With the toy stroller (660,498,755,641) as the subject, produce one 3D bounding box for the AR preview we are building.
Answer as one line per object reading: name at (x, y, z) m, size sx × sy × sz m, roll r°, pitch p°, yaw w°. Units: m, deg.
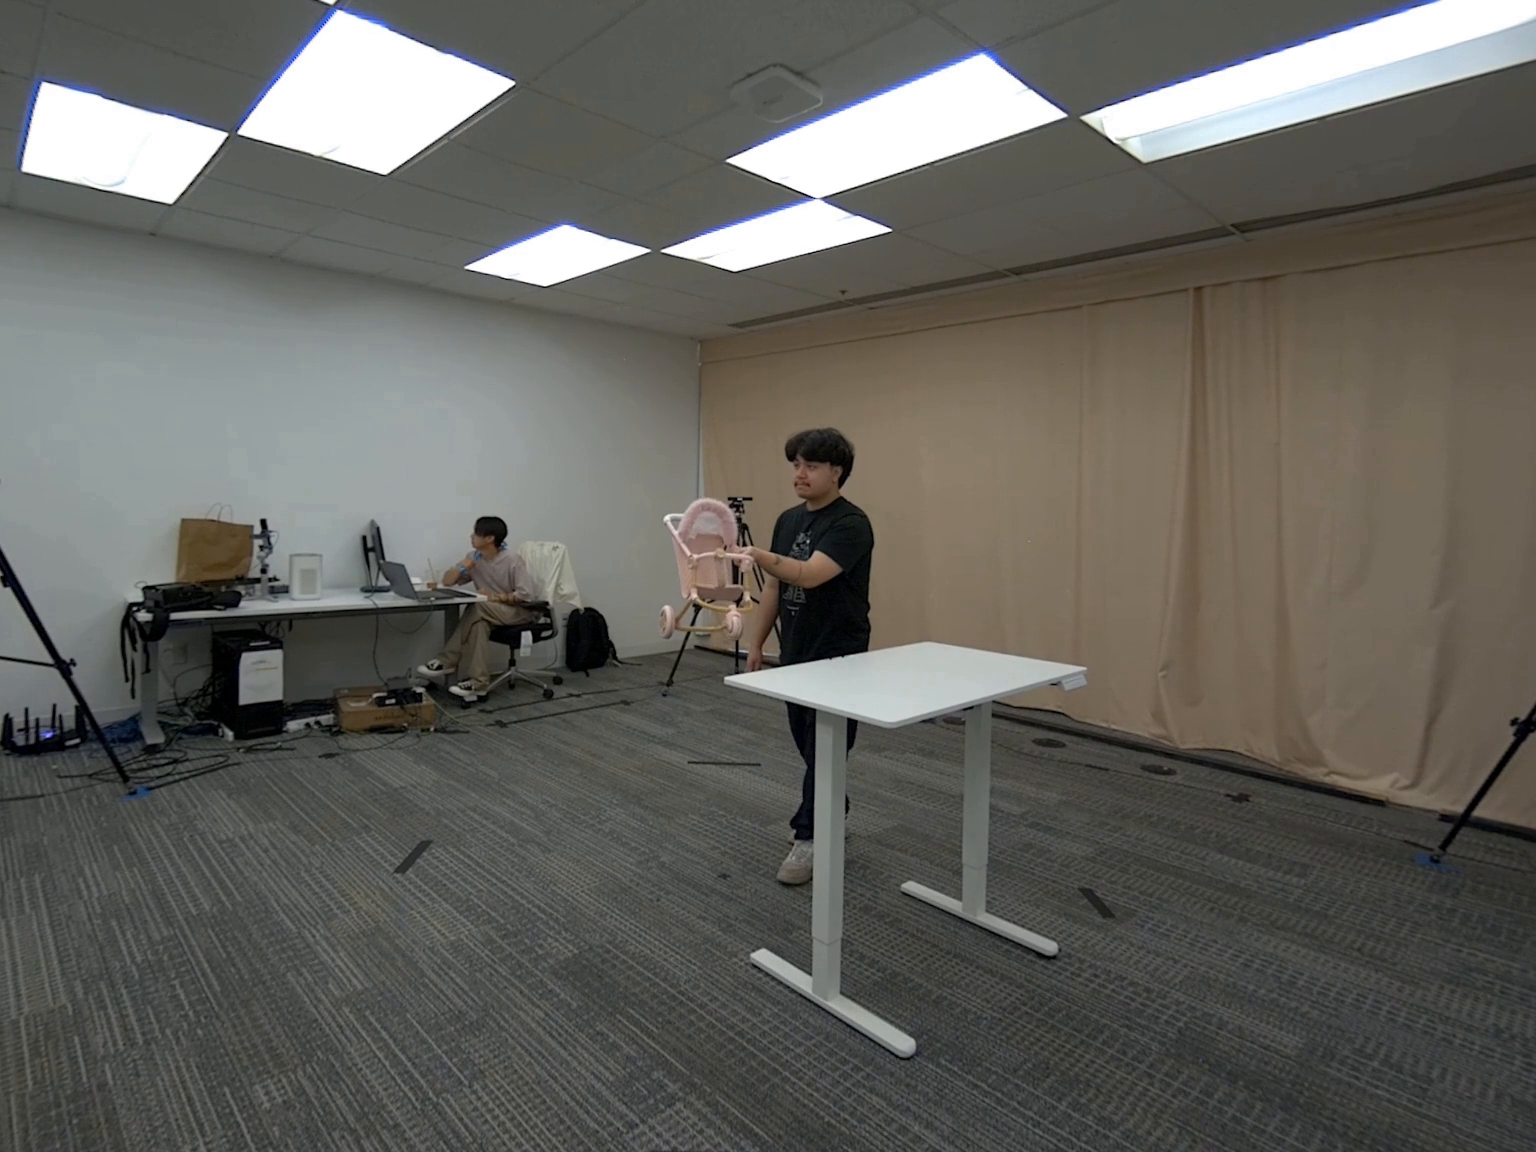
toy stroller at (-0.197, -0.023, 2.765) m, size 0.276 × 0.543 × 0.342 m, roll 5°, pitch -22°, yaw -23°
